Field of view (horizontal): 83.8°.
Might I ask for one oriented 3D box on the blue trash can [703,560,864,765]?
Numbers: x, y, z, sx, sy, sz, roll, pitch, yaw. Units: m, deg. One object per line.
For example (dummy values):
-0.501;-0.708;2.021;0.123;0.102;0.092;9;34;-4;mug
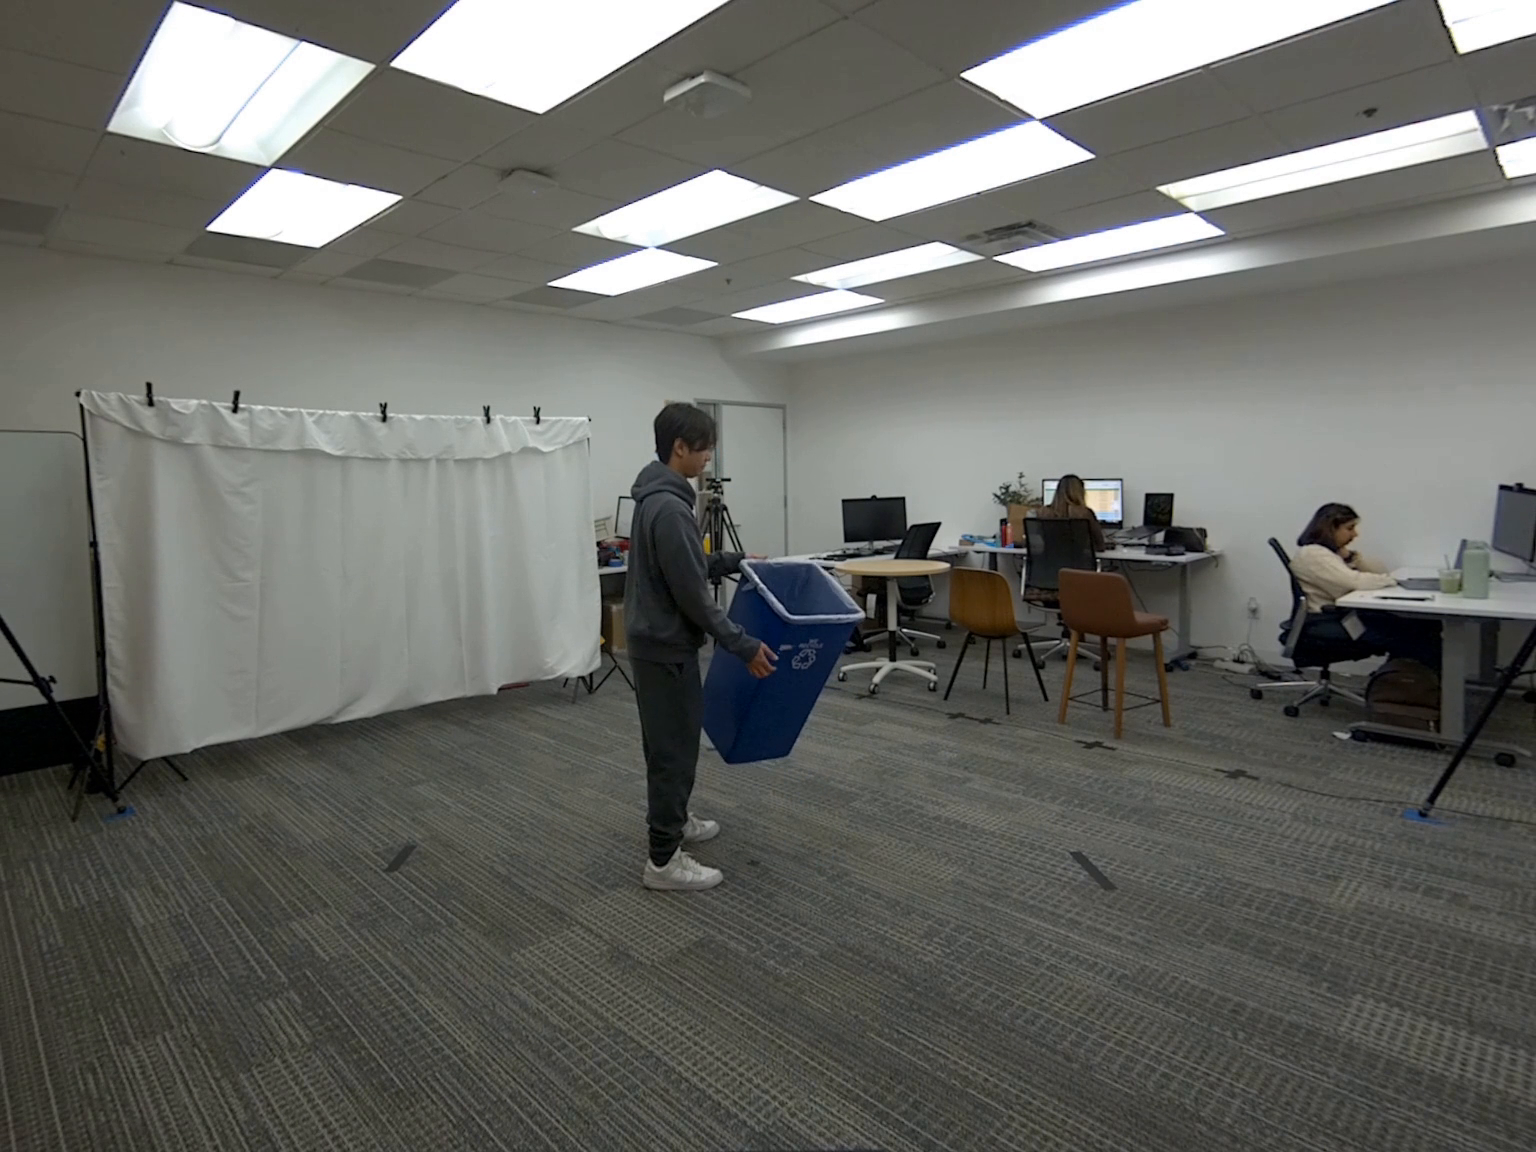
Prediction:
0.015;0.337;3.264;0.364;0.705;0.393;1;33;-36;blue trash can
